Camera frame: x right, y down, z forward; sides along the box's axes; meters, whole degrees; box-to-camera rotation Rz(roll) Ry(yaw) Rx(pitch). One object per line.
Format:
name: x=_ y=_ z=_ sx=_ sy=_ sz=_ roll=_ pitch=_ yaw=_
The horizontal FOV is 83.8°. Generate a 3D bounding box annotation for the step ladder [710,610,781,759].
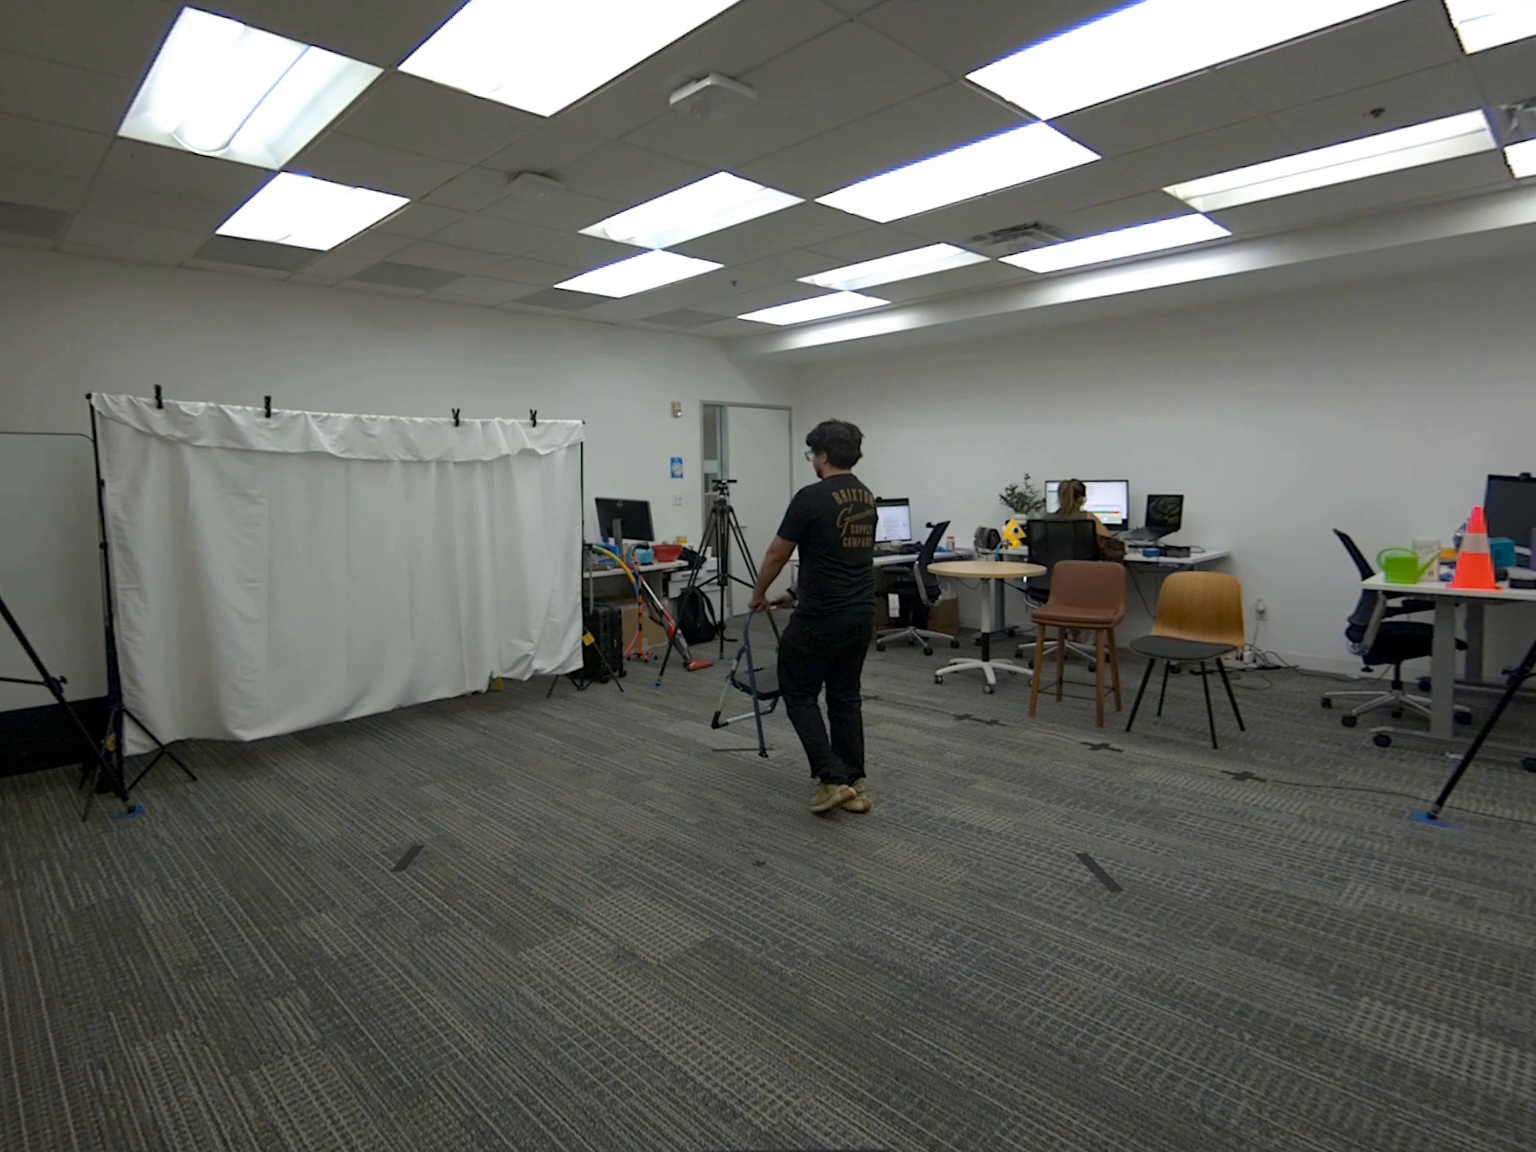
step ladder: x=0.036 y=0.432 z=3.881 sx=0.362 sy=0.601 sz=0.419 roll=17 pitch=14 yaw=40
